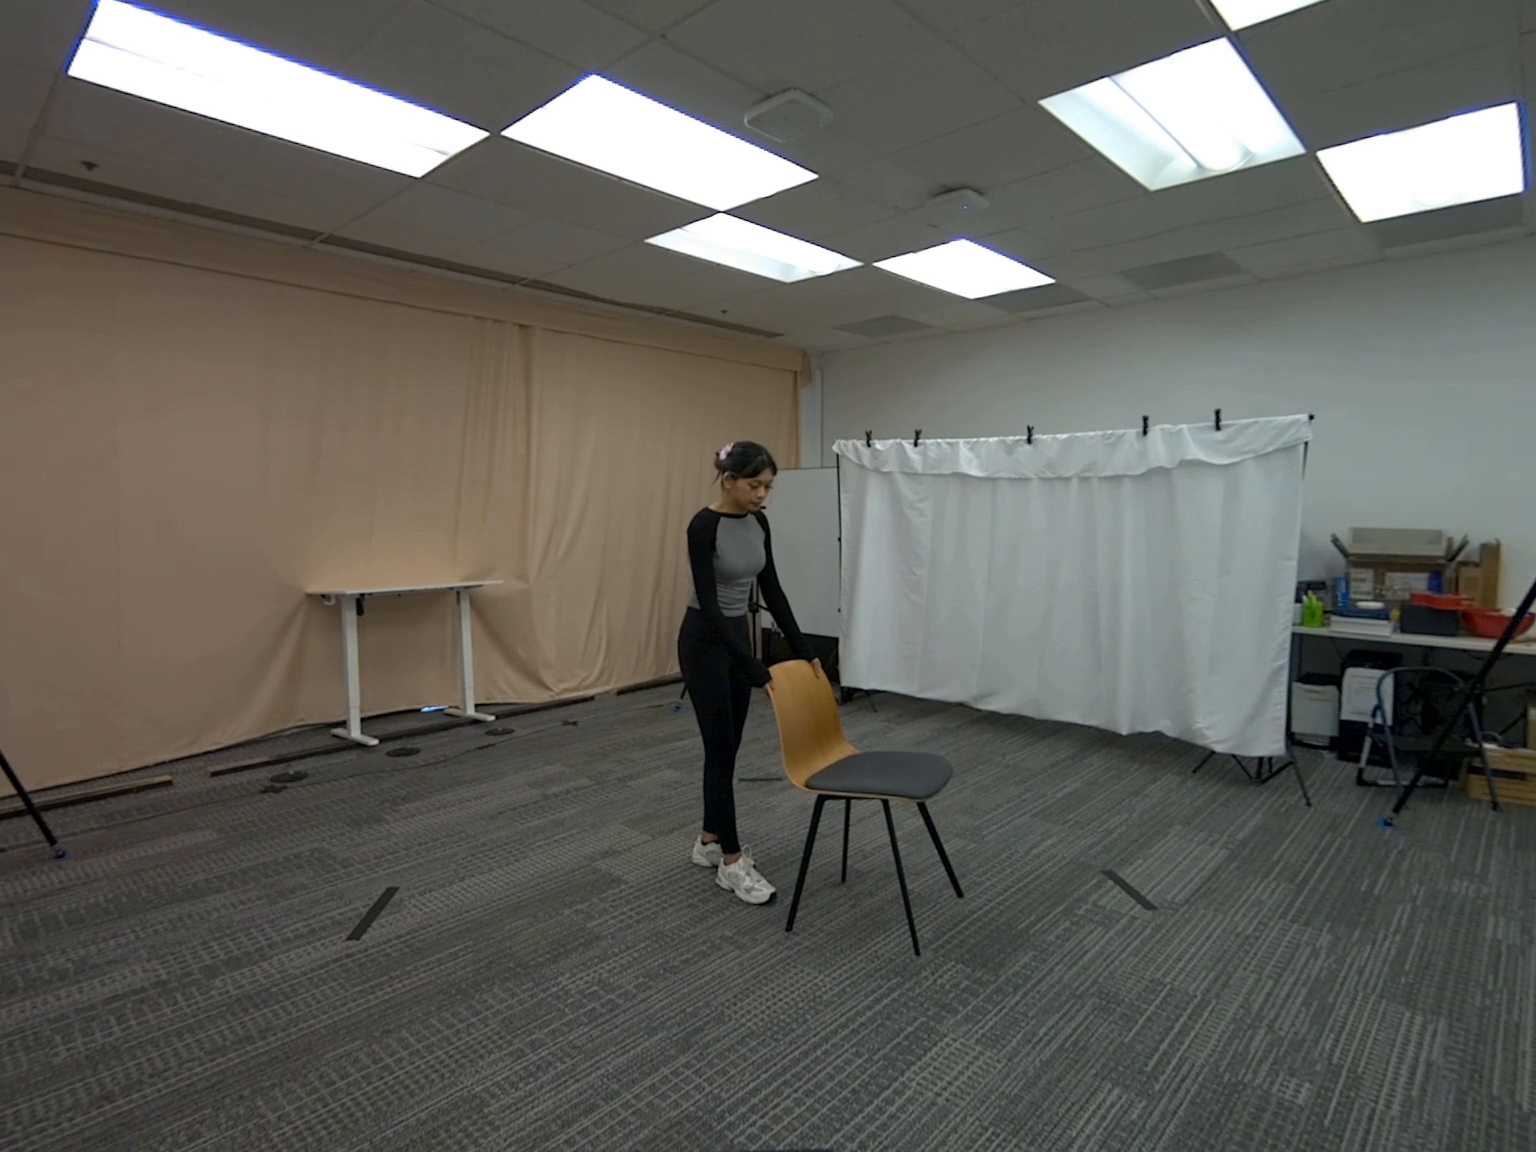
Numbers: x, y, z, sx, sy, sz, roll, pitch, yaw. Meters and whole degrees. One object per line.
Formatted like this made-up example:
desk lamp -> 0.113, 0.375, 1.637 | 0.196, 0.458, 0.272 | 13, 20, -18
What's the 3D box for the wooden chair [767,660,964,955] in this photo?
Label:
wooden chair -> 0.337, 0.707, 2.810 | 0.536, 0.880, 0.465 | -11, -3, 32
